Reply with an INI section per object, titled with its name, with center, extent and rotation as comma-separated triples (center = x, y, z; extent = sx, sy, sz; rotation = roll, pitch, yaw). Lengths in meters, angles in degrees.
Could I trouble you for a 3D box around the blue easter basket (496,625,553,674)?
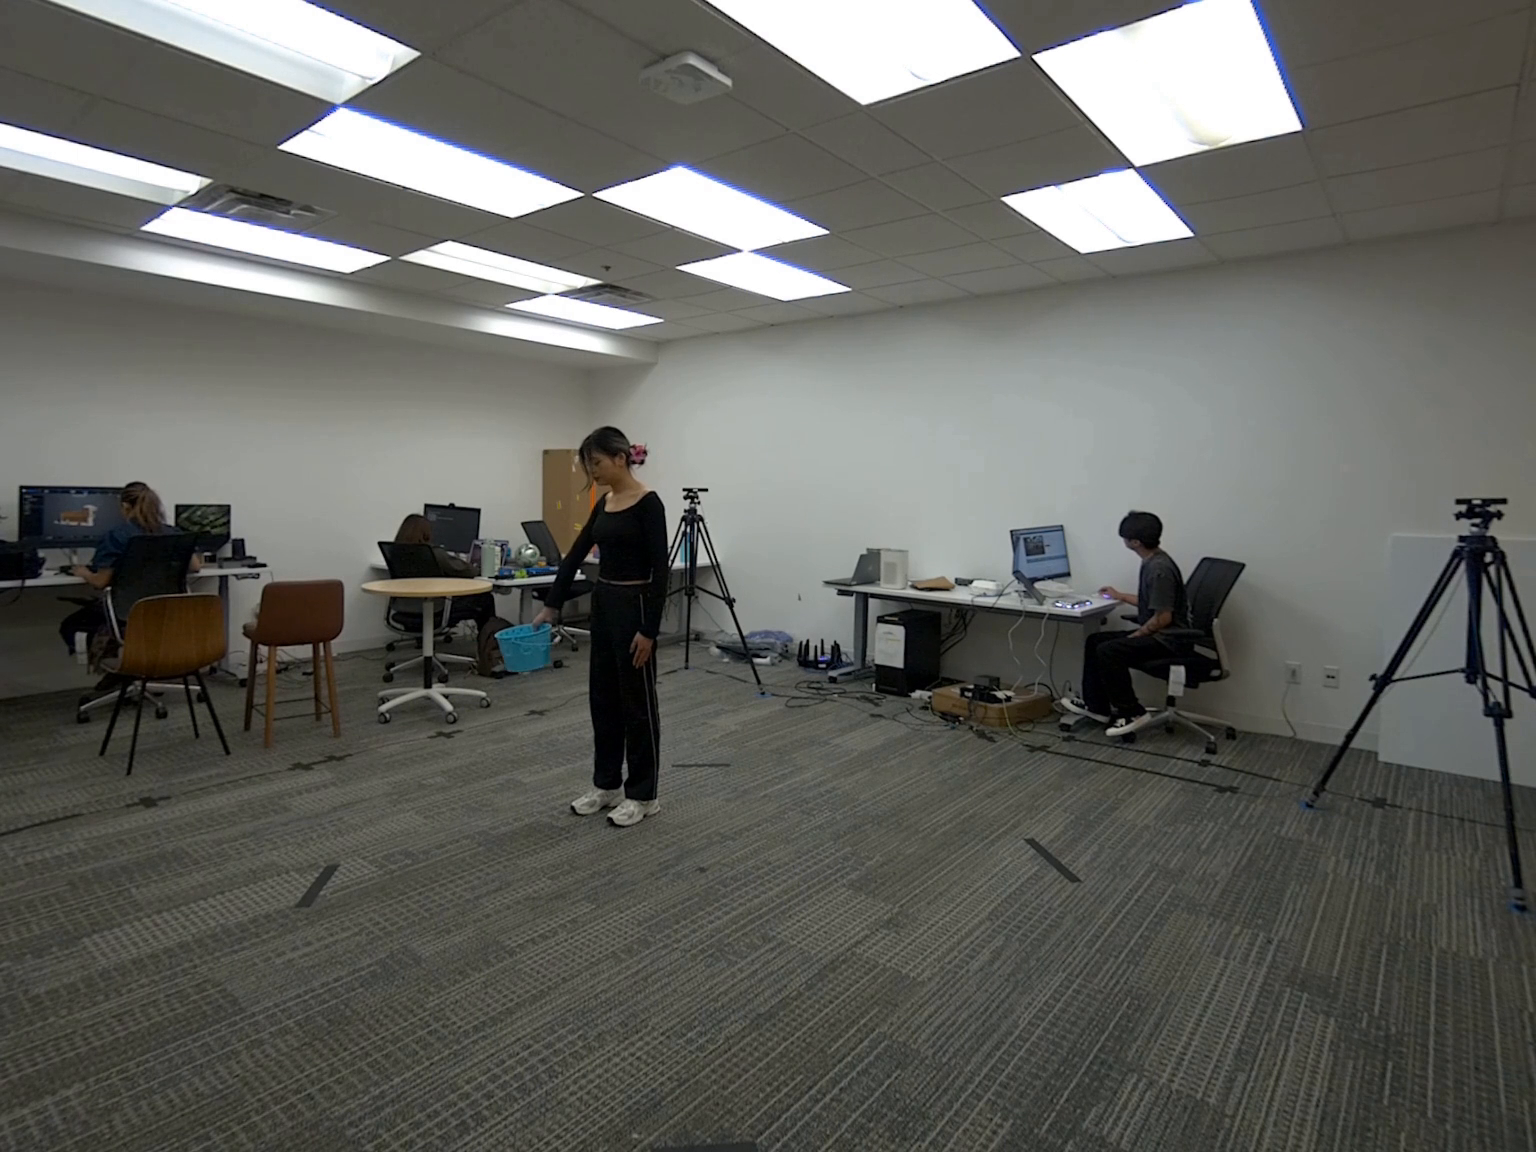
[blue easter basket]
center = -1.034, 0.300, 3.565
extent = 0.243, 0.154, 0.246
rotation = -8, 9, -1
